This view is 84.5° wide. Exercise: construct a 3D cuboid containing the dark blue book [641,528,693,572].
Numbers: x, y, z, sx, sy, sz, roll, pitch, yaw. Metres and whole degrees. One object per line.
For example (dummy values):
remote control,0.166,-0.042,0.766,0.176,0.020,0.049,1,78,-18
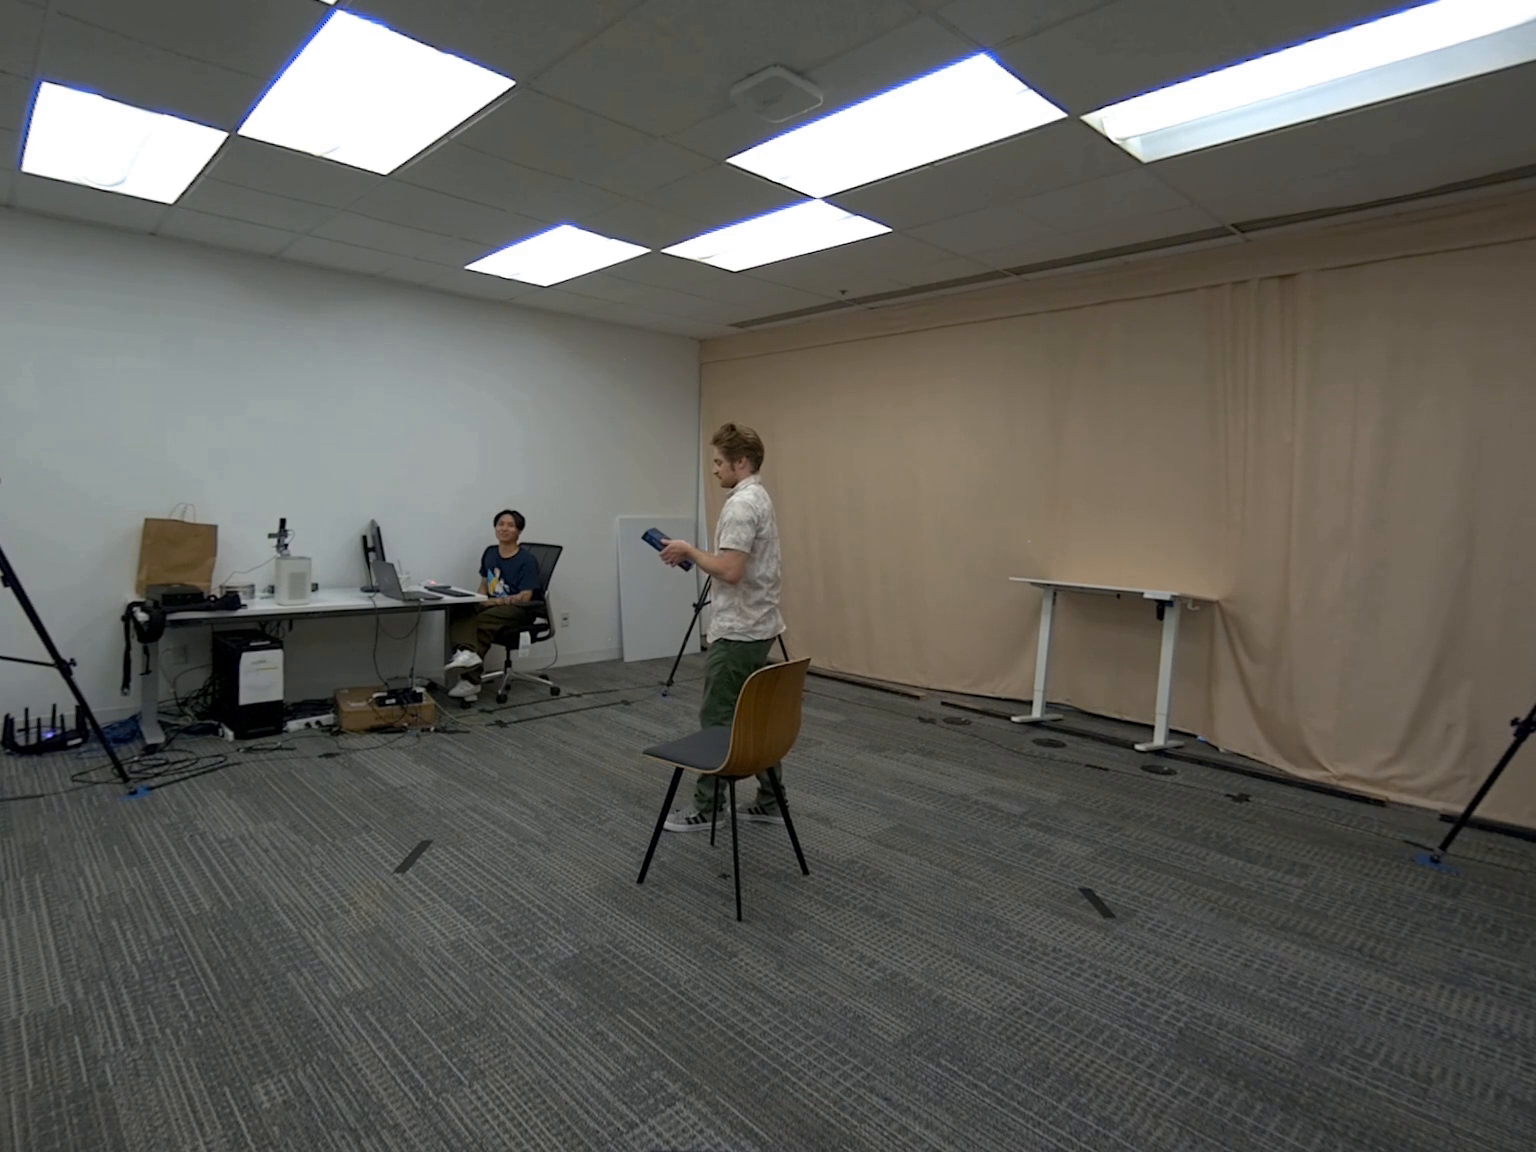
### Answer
dark blue book,-0.430,-0.118,3.640,0.245,0.045,0.163,35,10,0
